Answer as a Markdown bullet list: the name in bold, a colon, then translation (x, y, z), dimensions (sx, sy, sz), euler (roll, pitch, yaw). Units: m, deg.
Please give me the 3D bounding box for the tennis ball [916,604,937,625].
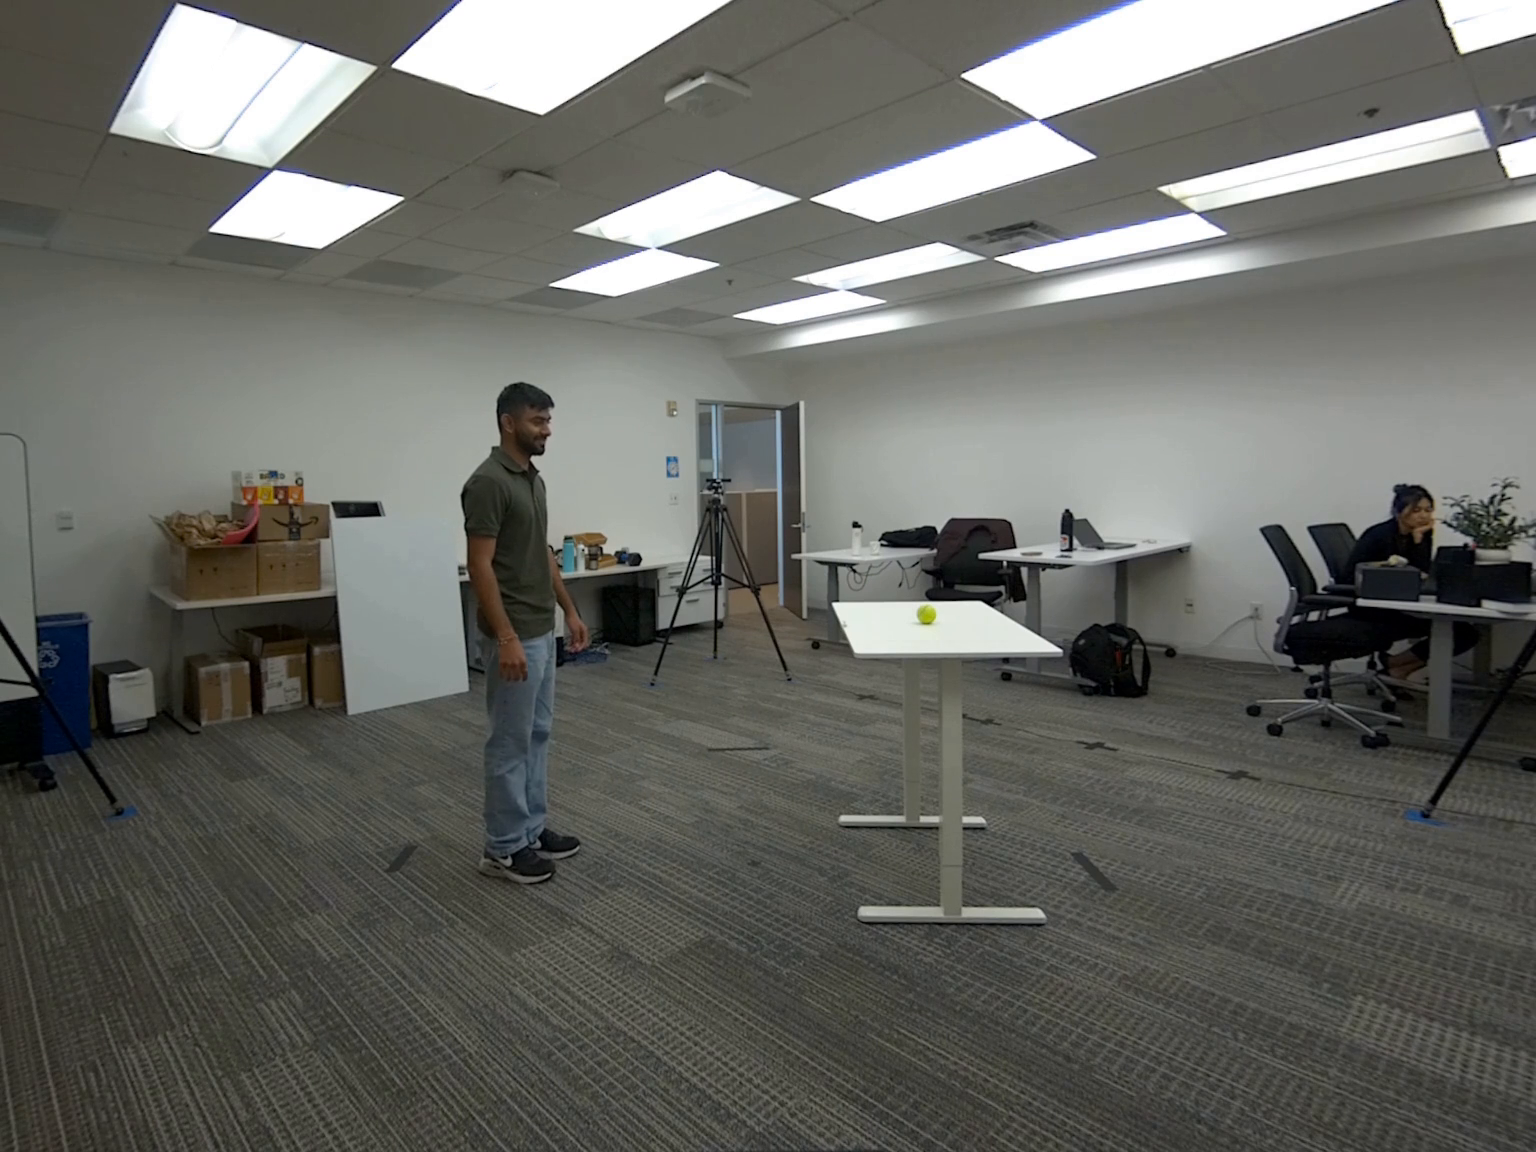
- **tennis ball**: translation (0.542, 0.134, 2.983), dimensions (0.066, 0.066, 0.067), euler (-1, 5, -2)
